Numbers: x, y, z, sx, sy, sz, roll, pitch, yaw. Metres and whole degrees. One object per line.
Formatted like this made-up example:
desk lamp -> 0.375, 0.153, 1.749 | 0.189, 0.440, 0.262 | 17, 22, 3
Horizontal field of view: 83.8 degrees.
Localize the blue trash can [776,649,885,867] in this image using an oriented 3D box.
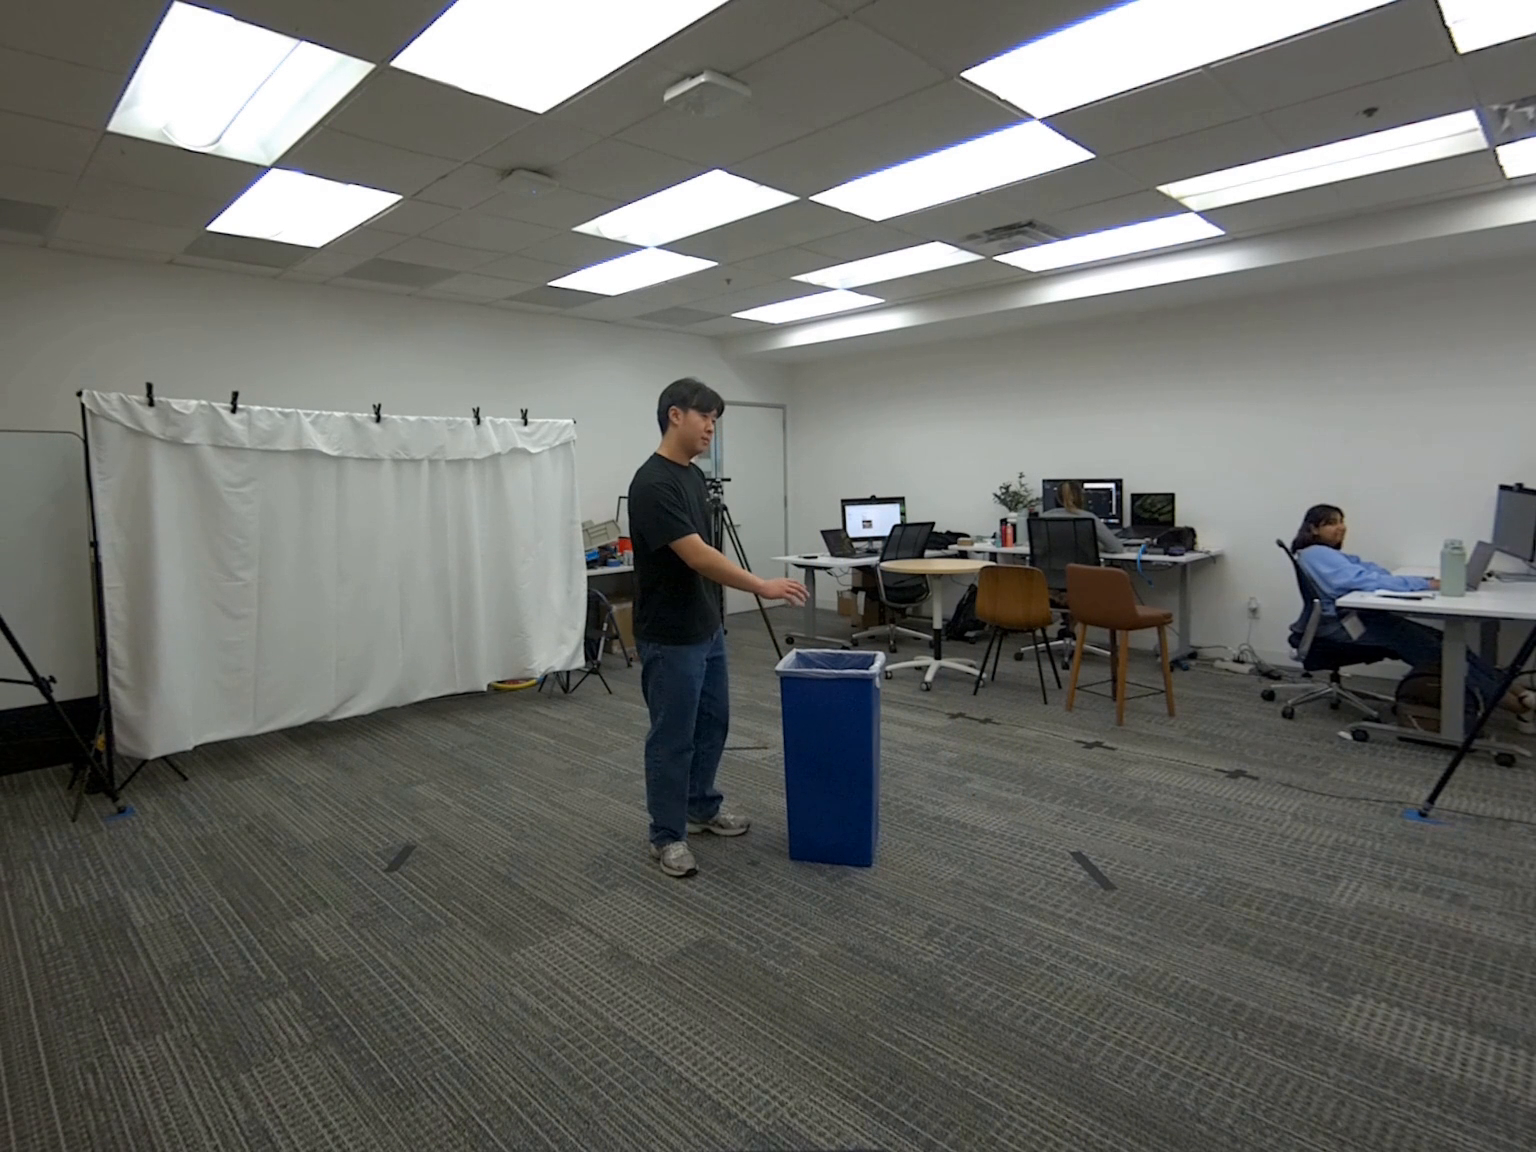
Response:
blue trash can -> 0.250, 0.663, 3.209 | 0.379, 0.711, 0.374 | -2, 4, 13
